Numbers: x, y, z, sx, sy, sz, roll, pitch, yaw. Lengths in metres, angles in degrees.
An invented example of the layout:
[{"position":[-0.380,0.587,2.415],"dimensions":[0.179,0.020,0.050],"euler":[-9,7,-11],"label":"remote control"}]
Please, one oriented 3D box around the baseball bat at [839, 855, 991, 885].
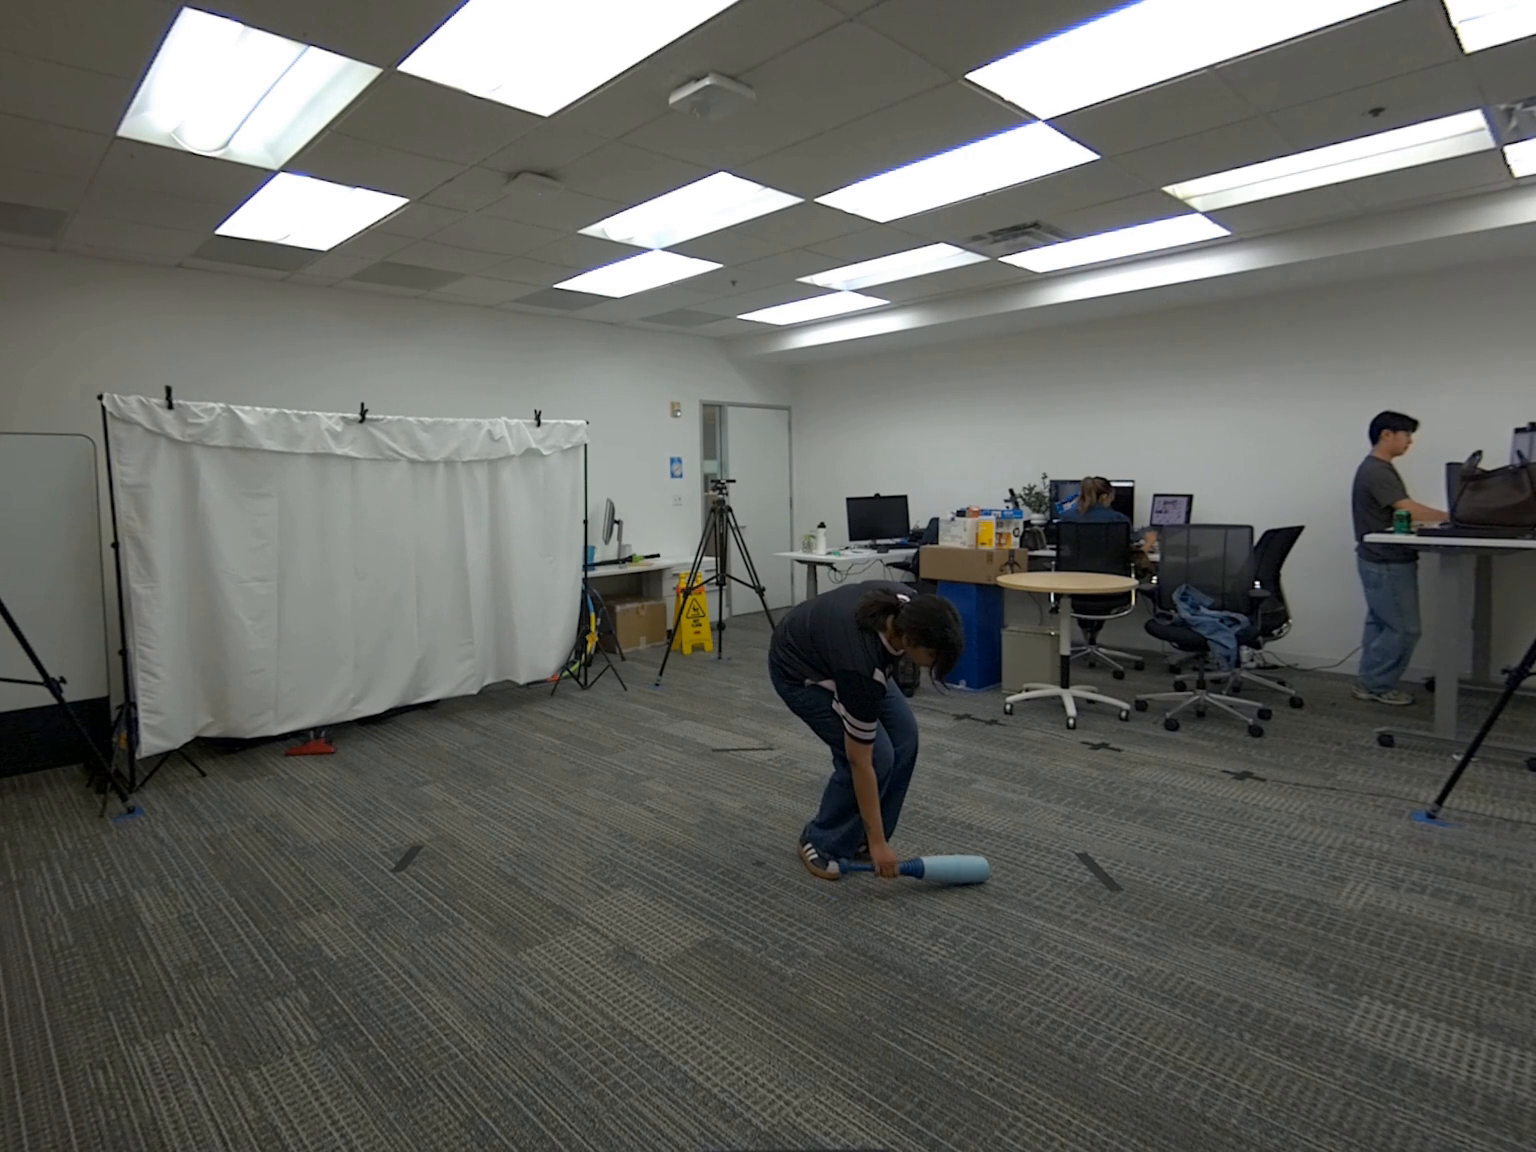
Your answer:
[{"position":[0.492,0.976,2.876],"dimensions":[0.534,0.089,0.090],"euler":[6,3,-15],"label":"baseball bat"}]
